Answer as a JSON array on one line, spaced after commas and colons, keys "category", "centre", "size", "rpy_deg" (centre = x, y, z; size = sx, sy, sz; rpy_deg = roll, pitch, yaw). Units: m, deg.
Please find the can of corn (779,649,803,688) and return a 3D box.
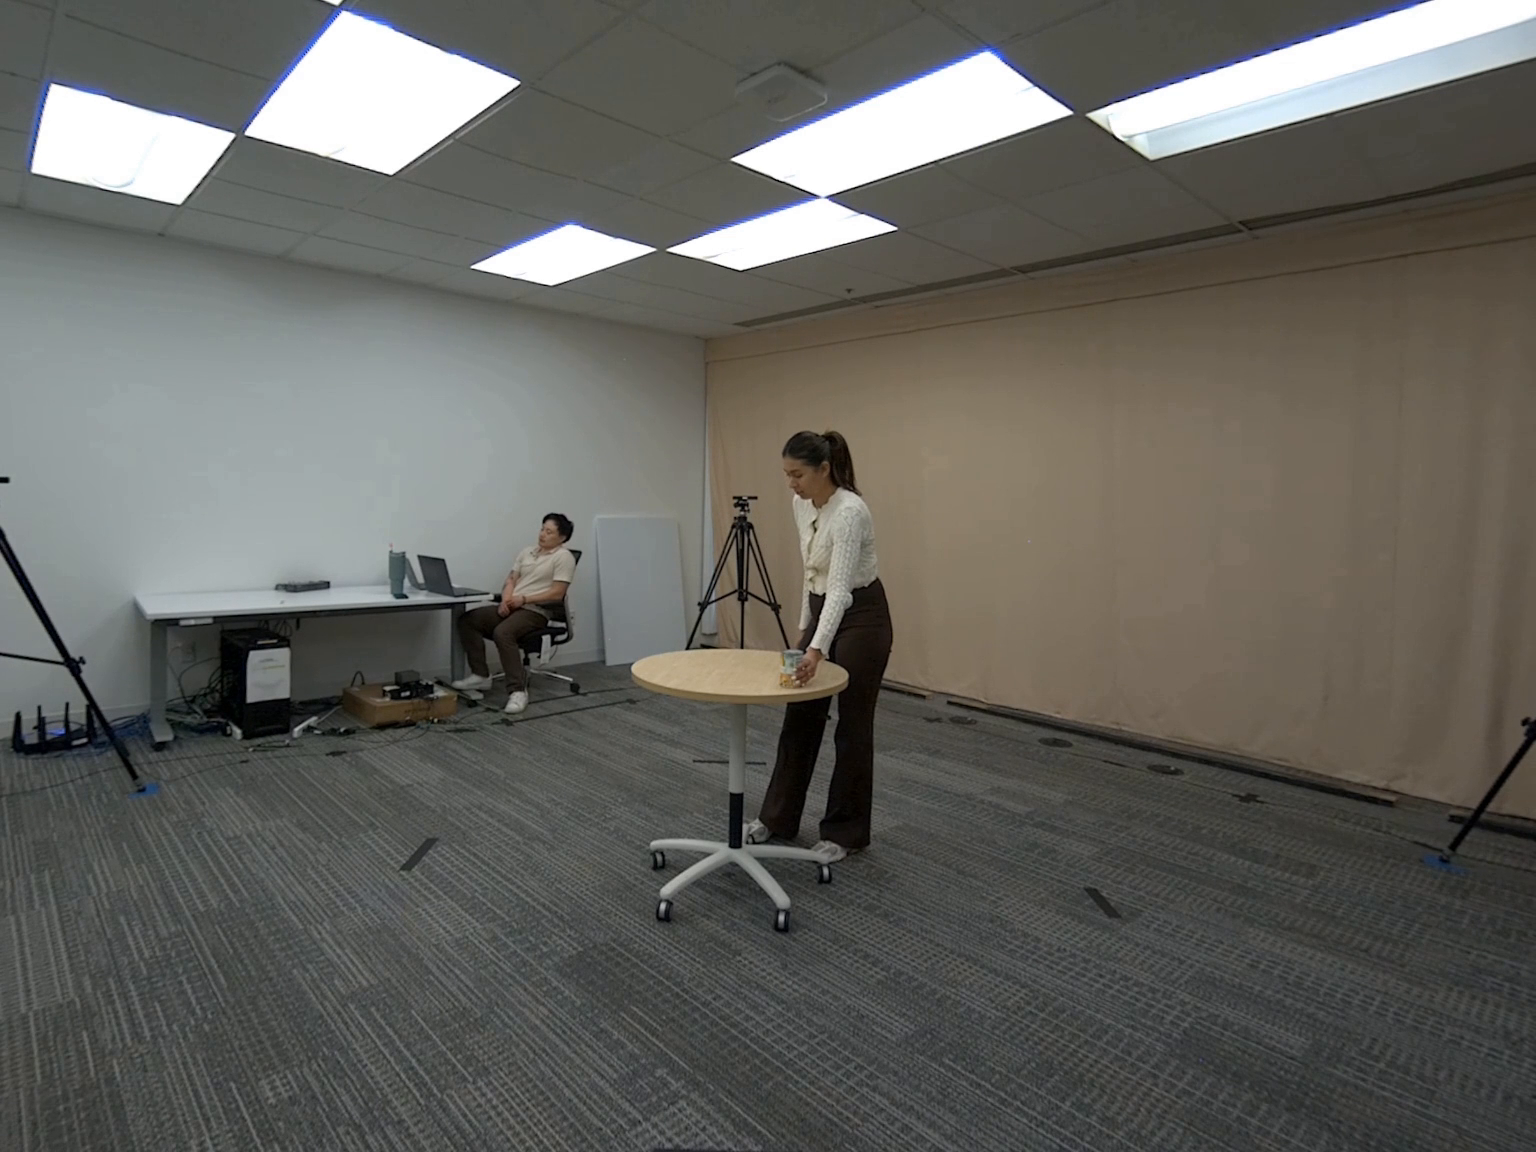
[{"category": "can of corn", "centre": [0.073, 0.306, 2.739], "size": [0.074, 0.111, 0.074], "rpy_deg": [3, 5, -2]}]
